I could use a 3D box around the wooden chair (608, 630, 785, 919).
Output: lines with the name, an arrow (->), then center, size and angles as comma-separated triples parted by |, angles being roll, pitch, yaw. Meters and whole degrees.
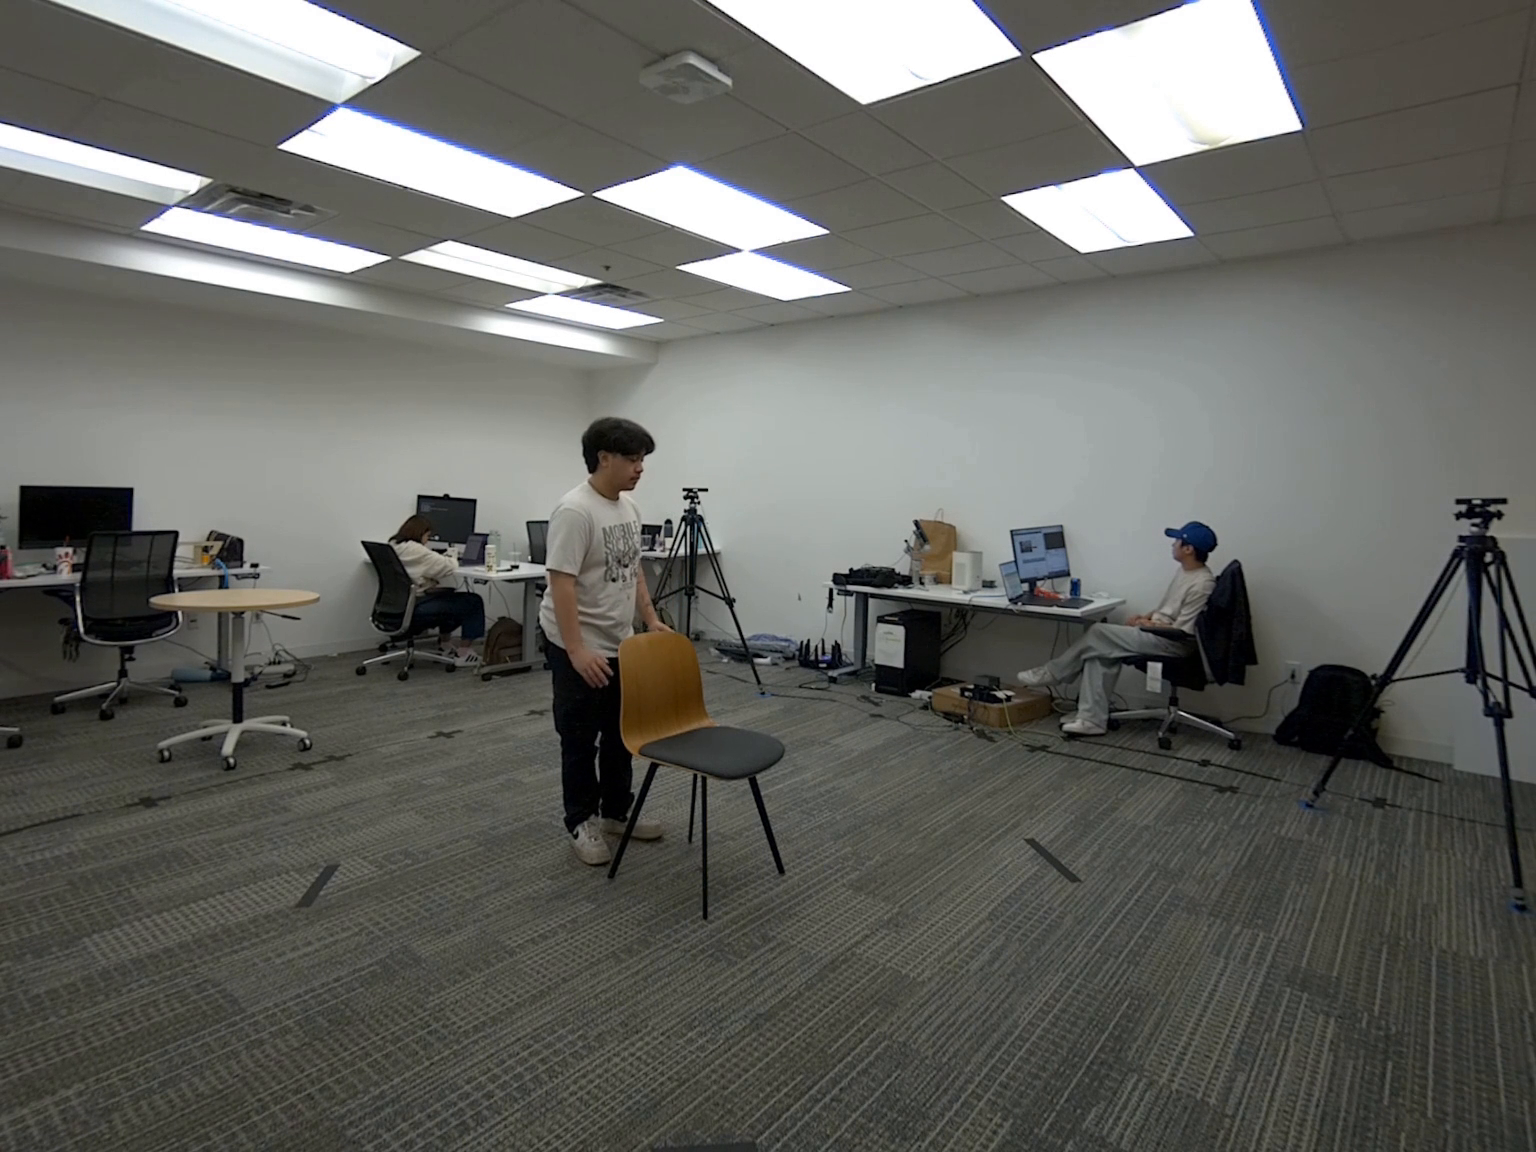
wooden chair -> -0.247, 0.649, 3.017 | 0.539, 0.877, 0.464 | -2, 0, 37
